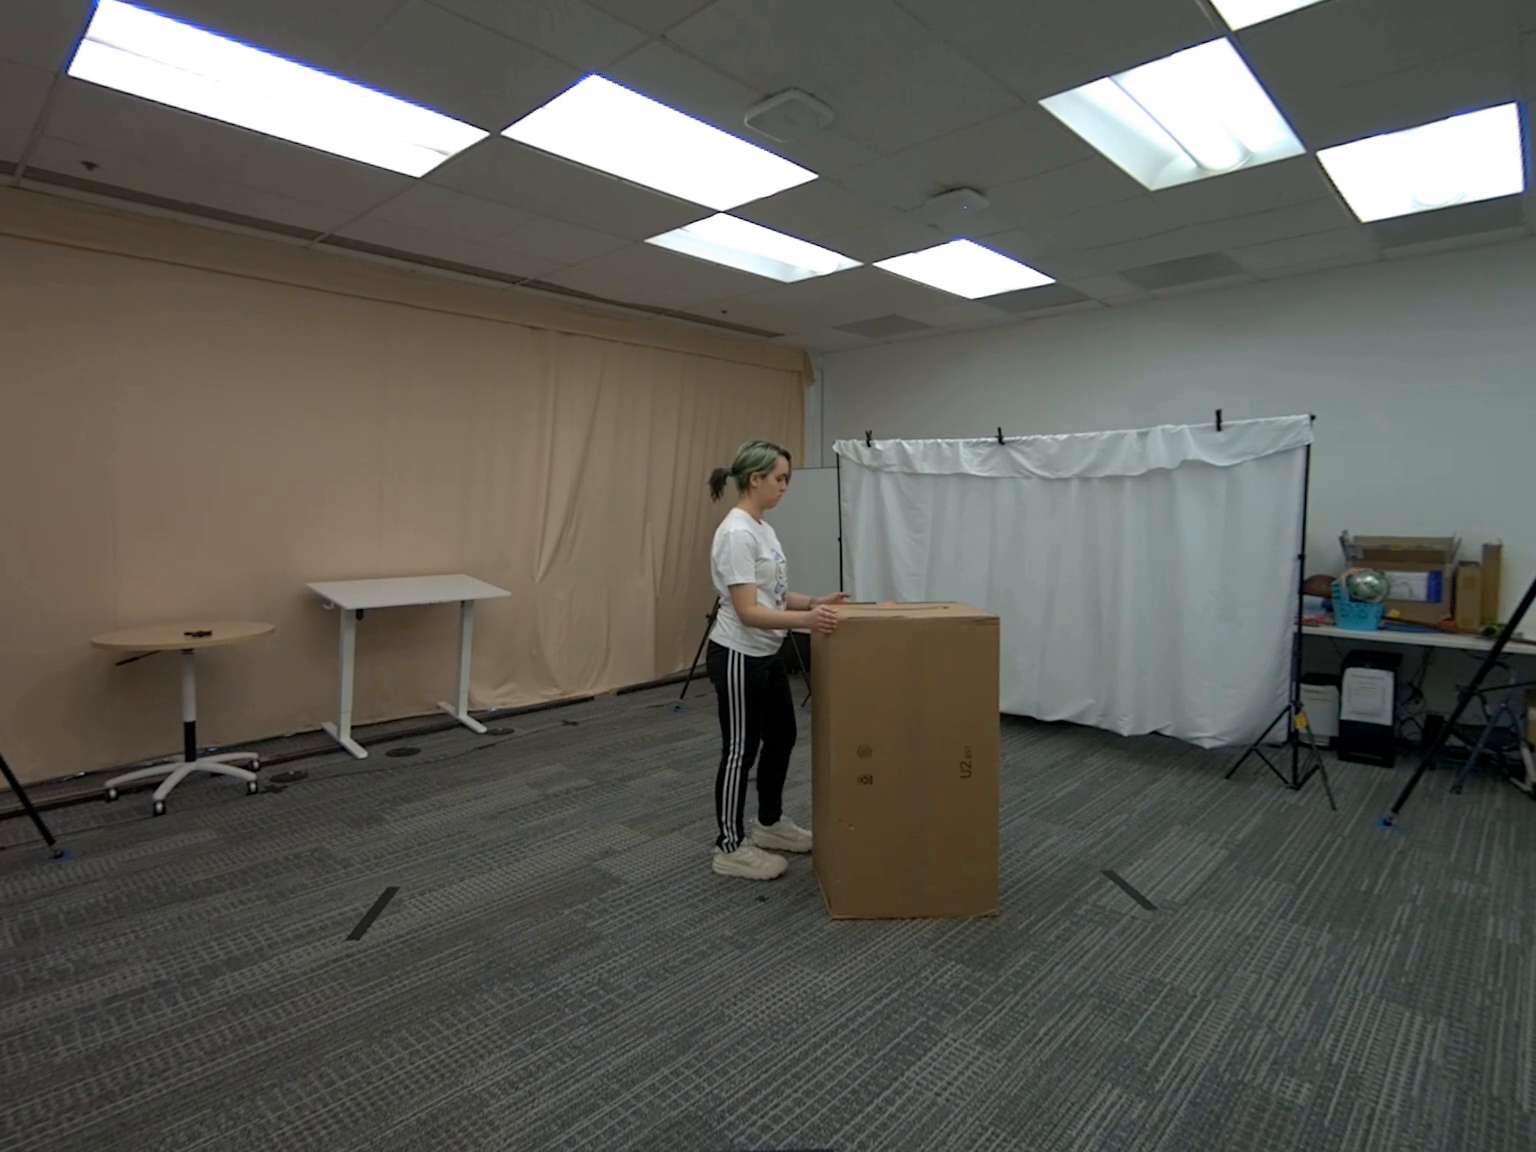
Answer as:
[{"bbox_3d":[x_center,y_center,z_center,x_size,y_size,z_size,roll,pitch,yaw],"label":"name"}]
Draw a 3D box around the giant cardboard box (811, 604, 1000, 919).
[{"bbox_3d":[0.480,0.635,3.010,0.576,1.023,0.428,-1,3,-3],"label":"giant cardboard box"}]
